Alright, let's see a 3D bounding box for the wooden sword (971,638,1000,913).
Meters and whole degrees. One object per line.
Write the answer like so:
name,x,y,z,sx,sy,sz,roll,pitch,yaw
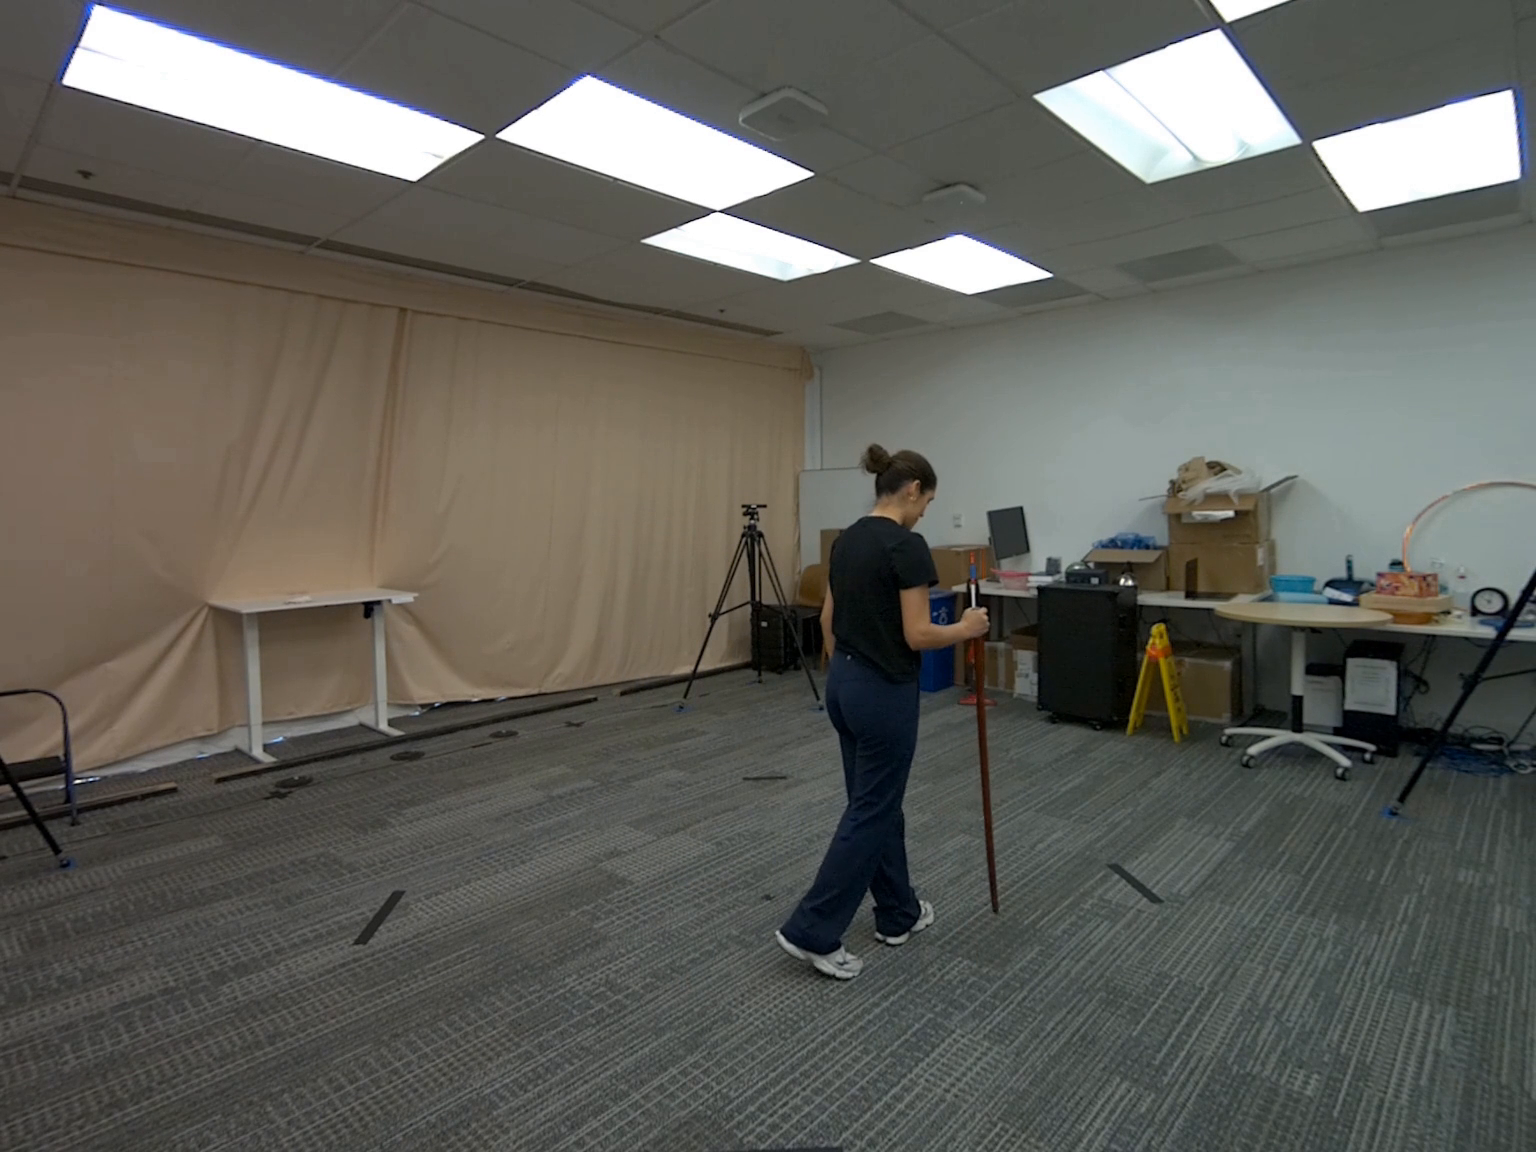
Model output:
wooden sword,0.718,0.624,2.677,0.050,1.018,0.024,-8,9,-19
